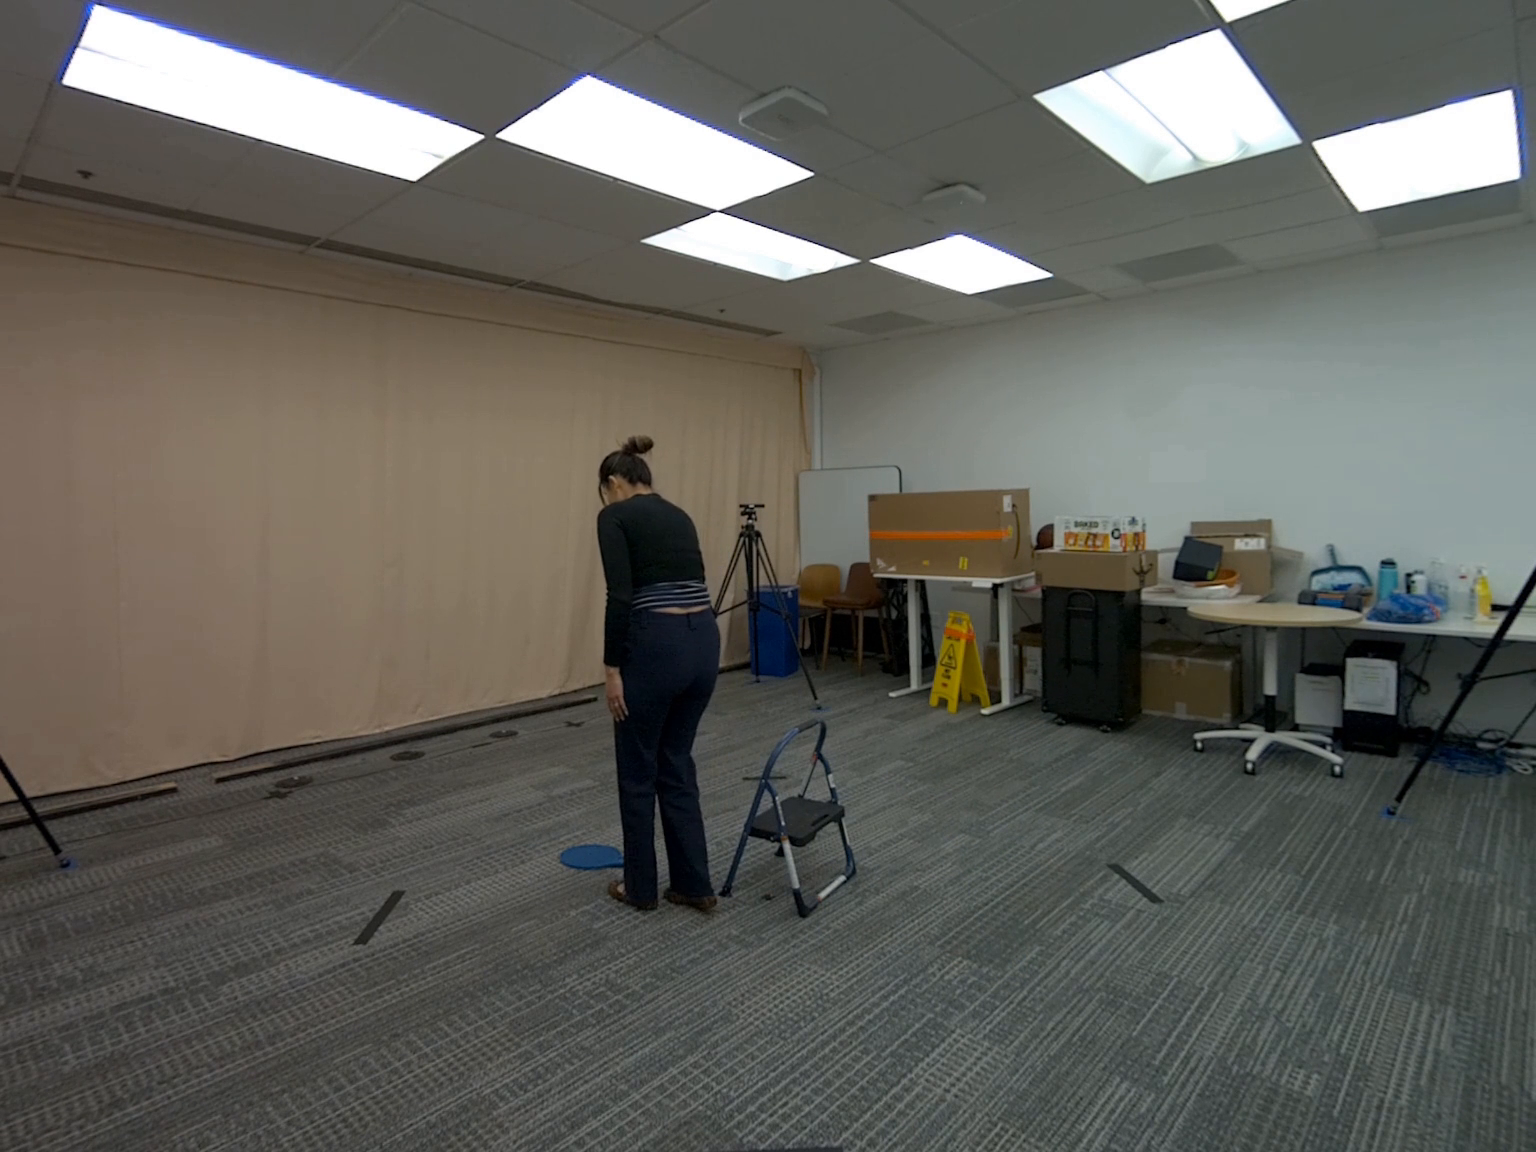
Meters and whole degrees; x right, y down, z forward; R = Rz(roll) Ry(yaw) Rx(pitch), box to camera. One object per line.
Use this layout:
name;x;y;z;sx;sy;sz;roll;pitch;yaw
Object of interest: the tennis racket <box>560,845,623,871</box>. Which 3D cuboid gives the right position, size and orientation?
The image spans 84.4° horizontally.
tennis racket;-0.624;1.109;3.308;0.444;0.032;0.209;0;5;26
